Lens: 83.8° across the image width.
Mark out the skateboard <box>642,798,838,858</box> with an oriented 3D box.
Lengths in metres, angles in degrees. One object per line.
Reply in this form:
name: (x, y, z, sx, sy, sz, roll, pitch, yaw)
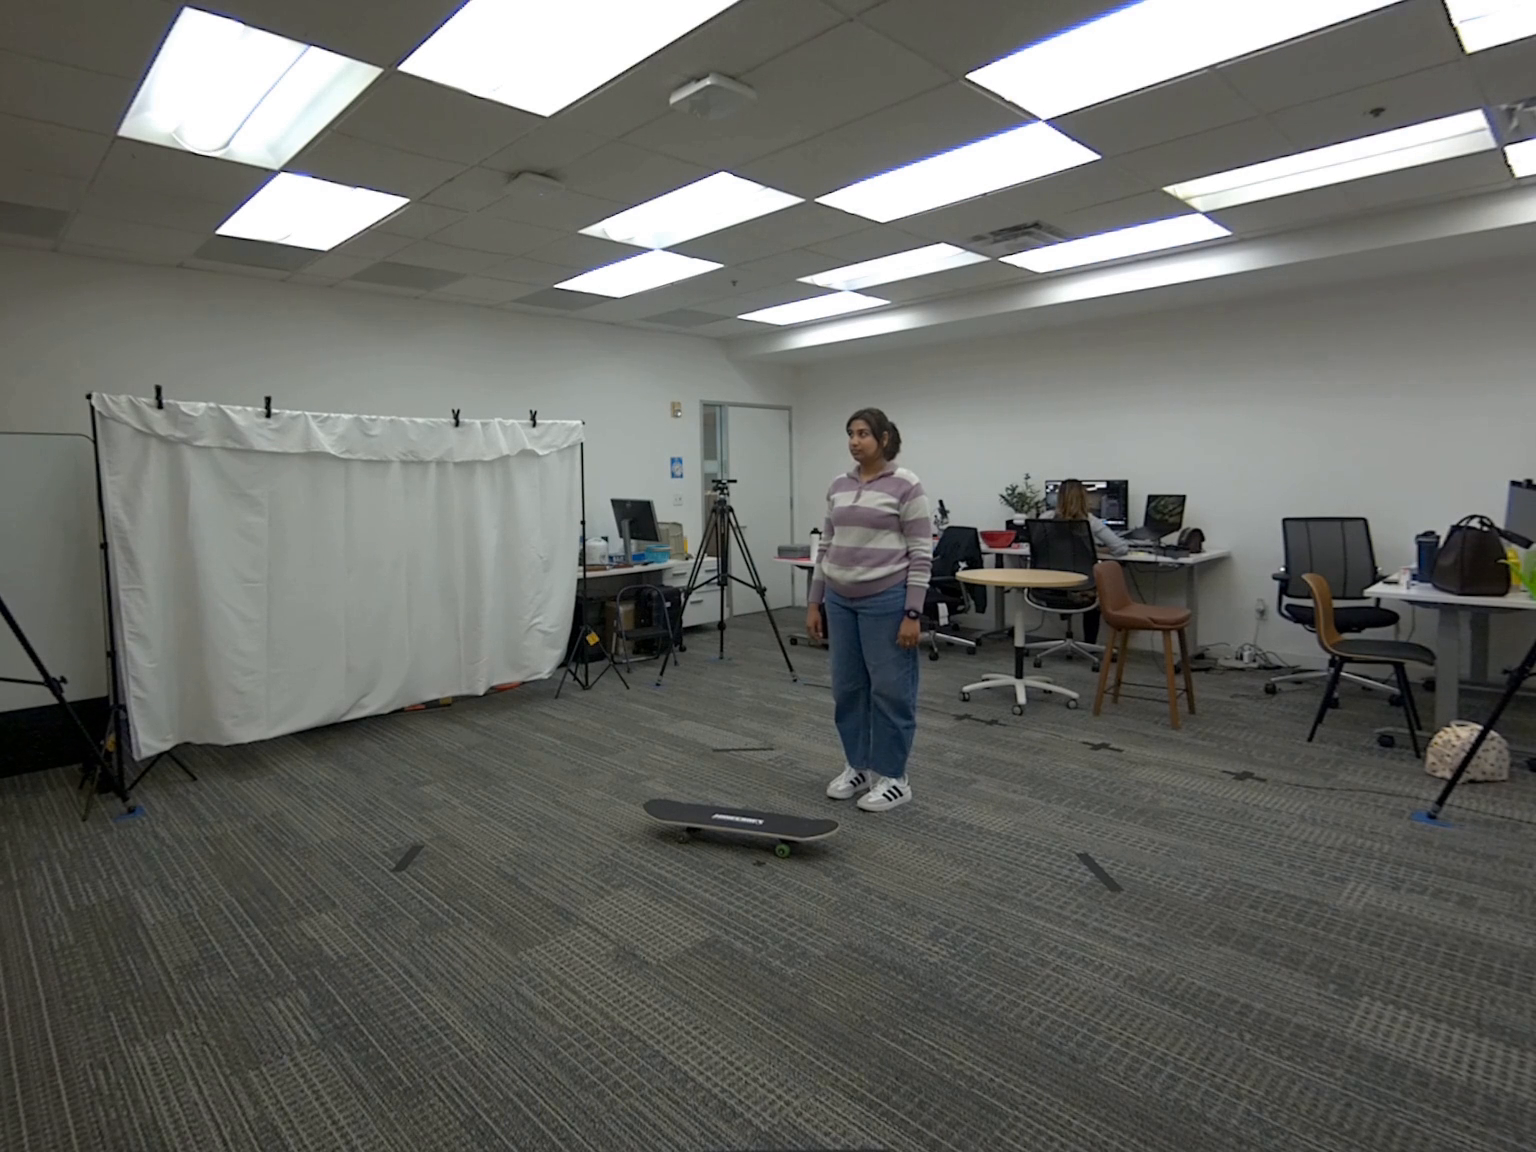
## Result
skateboard: (-0.111, 0.969, 3.298, 0.800, 0.110, 0.191, 1, 6, 19)
